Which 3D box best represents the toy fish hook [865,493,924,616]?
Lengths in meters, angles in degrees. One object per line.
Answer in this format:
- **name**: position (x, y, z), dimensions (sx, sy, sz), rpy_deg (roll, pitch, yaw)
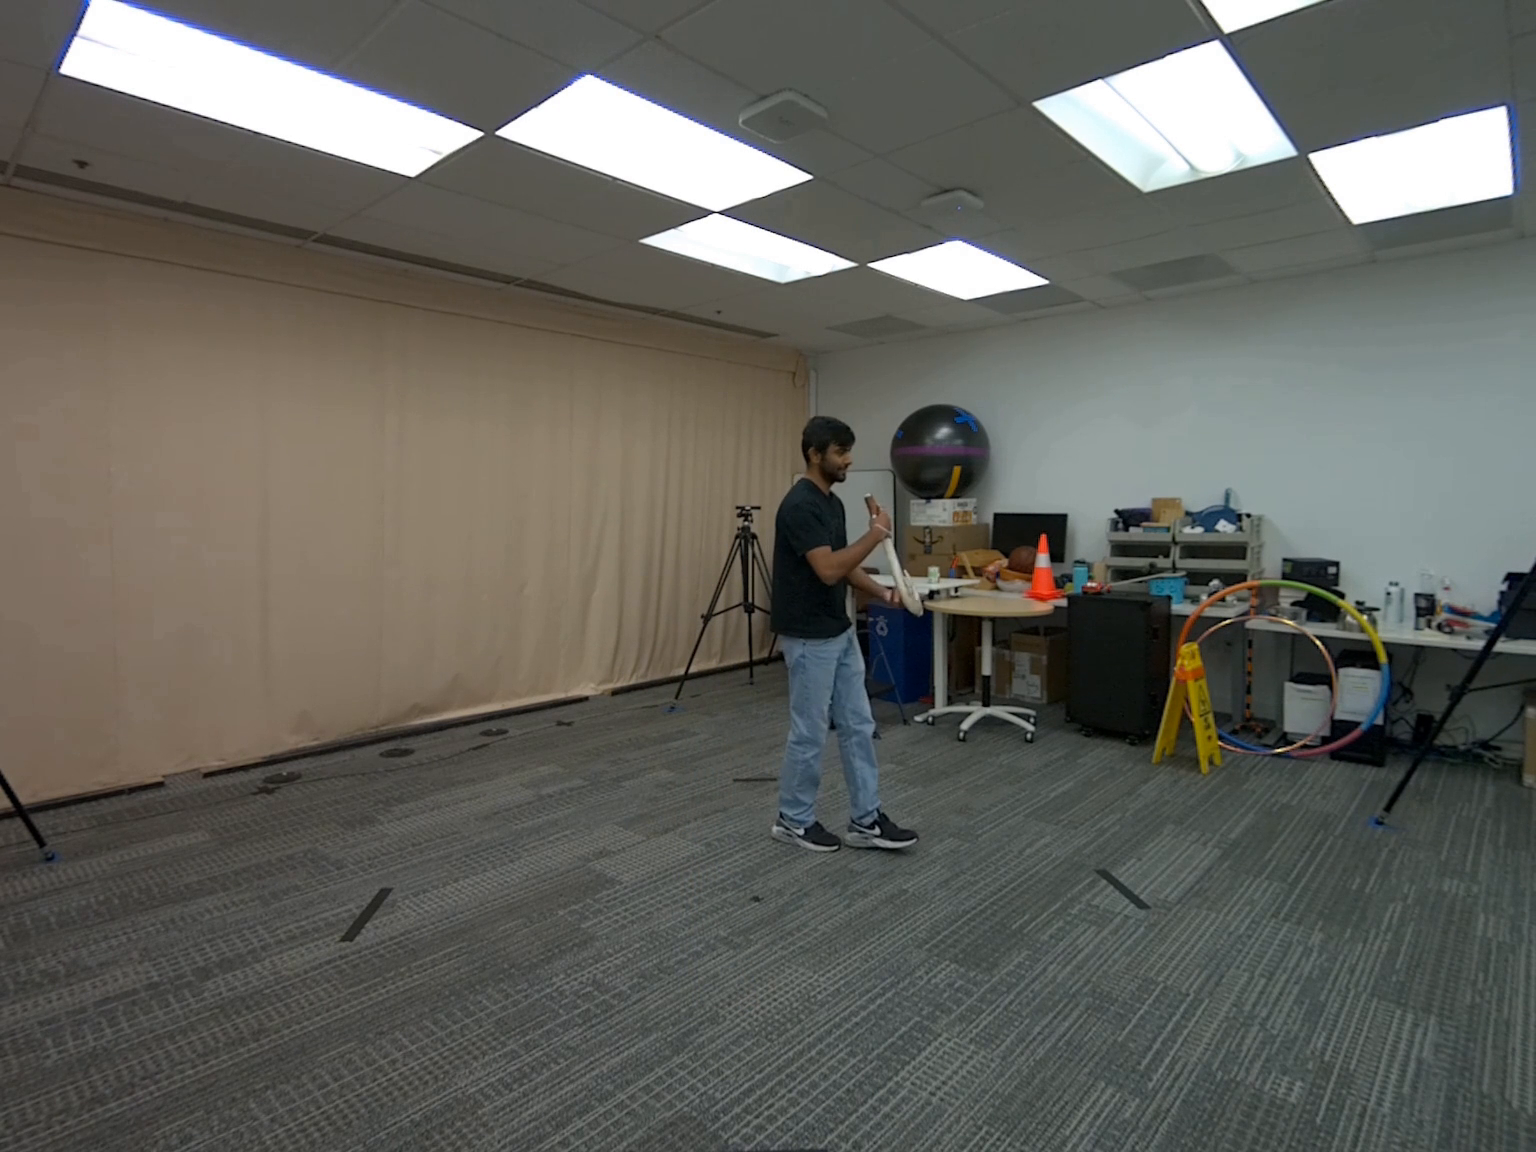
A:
- **toy fish hook**: position (0.507, -0.088, 3.280), dimensions (0.049, 0.513, 0.219), rpy_deg (-23, -13, 18)
